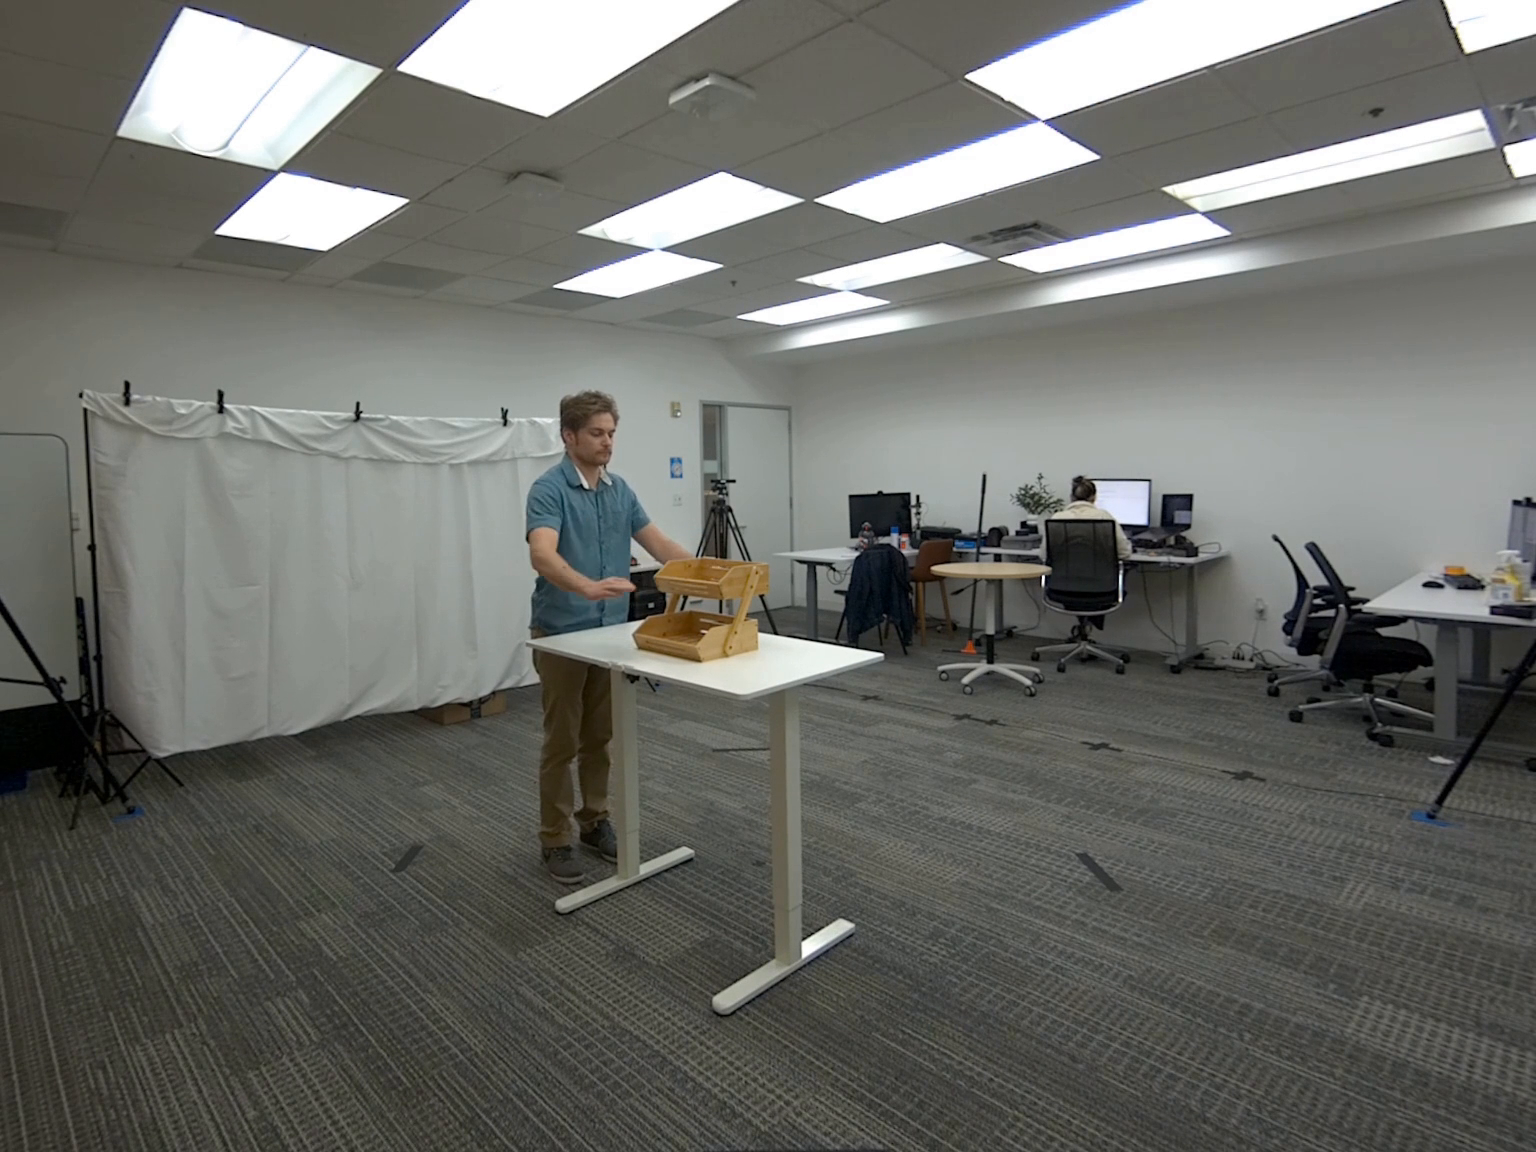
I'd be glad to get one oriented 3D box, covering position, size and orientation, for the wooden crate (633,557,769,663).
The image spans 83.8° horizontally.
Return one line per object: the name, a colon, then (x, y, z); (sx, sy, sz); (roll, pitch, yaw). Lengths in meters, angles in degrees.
wooden crate: (-0.209, 0.092, 2.624); (0.335, 0.272, 0.294); (5, 8, 45)
